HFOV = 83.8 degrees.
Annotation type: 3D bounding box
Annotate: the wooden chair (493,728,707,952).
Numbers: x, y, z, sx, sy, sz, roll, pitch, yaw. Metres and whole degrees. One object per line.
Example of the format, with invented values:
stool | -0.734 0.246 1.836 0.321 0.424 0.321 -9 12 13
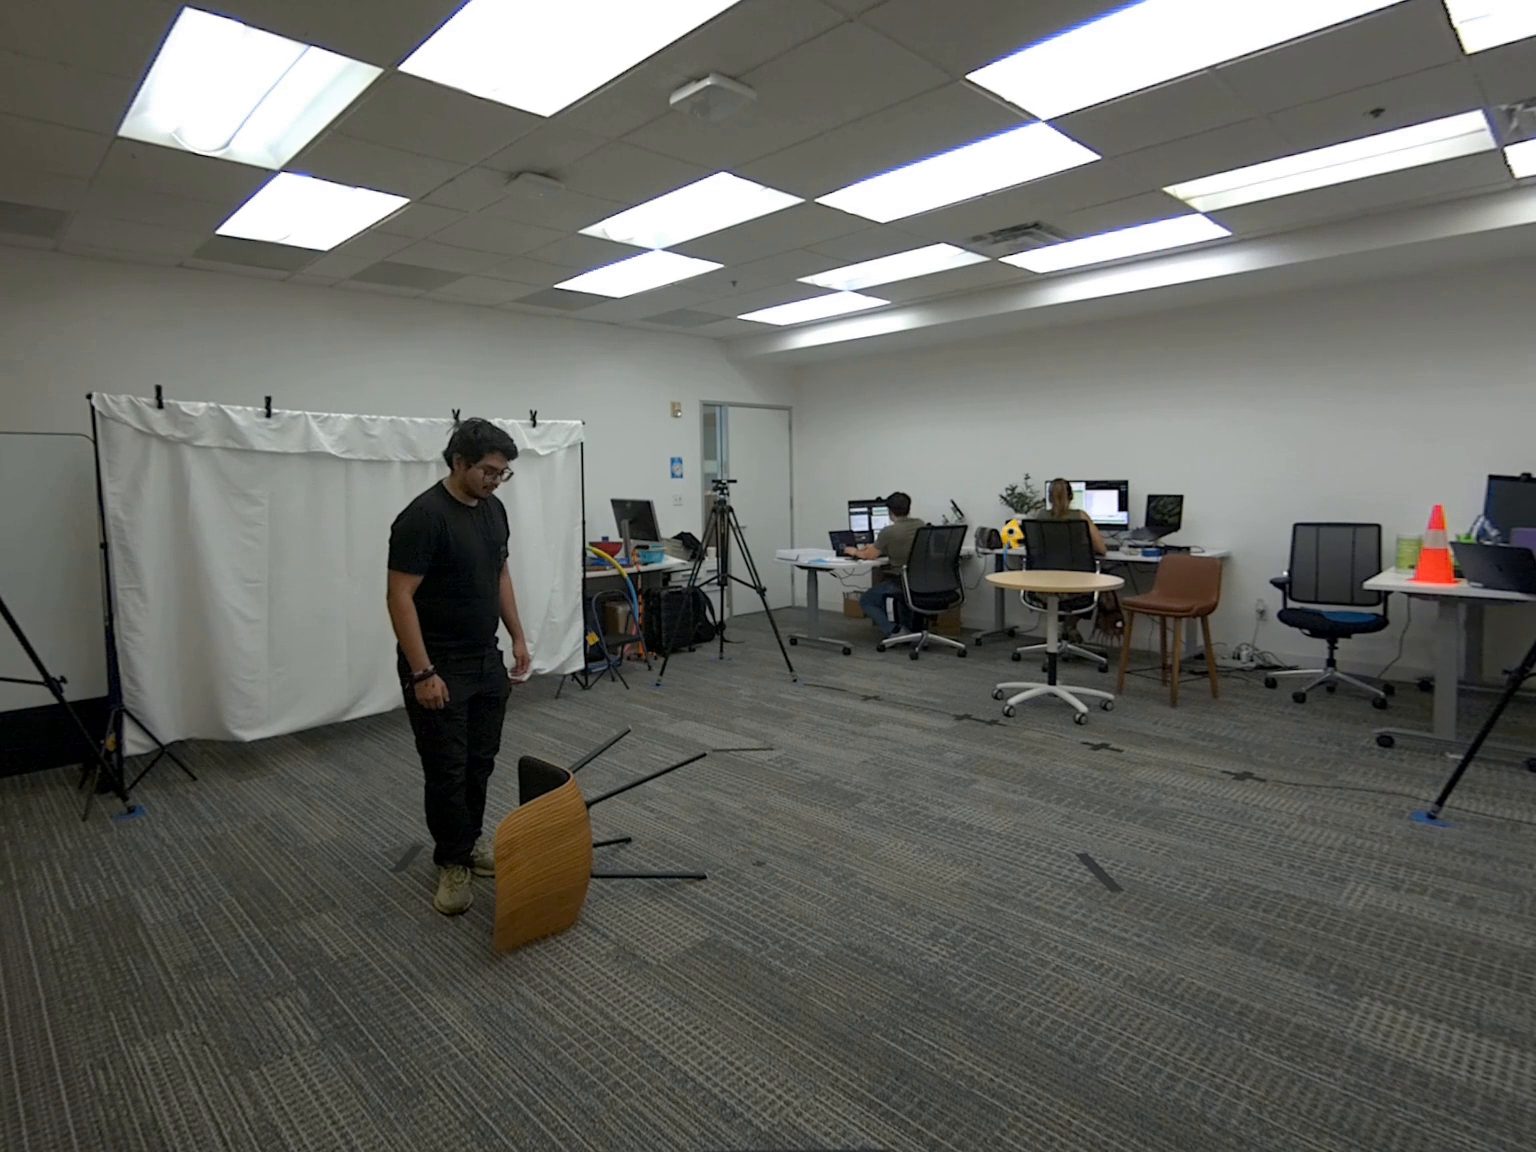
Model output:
wooden chair | -0.679 0.855 2.863 0.539 0.476 0.855 4 8 40
